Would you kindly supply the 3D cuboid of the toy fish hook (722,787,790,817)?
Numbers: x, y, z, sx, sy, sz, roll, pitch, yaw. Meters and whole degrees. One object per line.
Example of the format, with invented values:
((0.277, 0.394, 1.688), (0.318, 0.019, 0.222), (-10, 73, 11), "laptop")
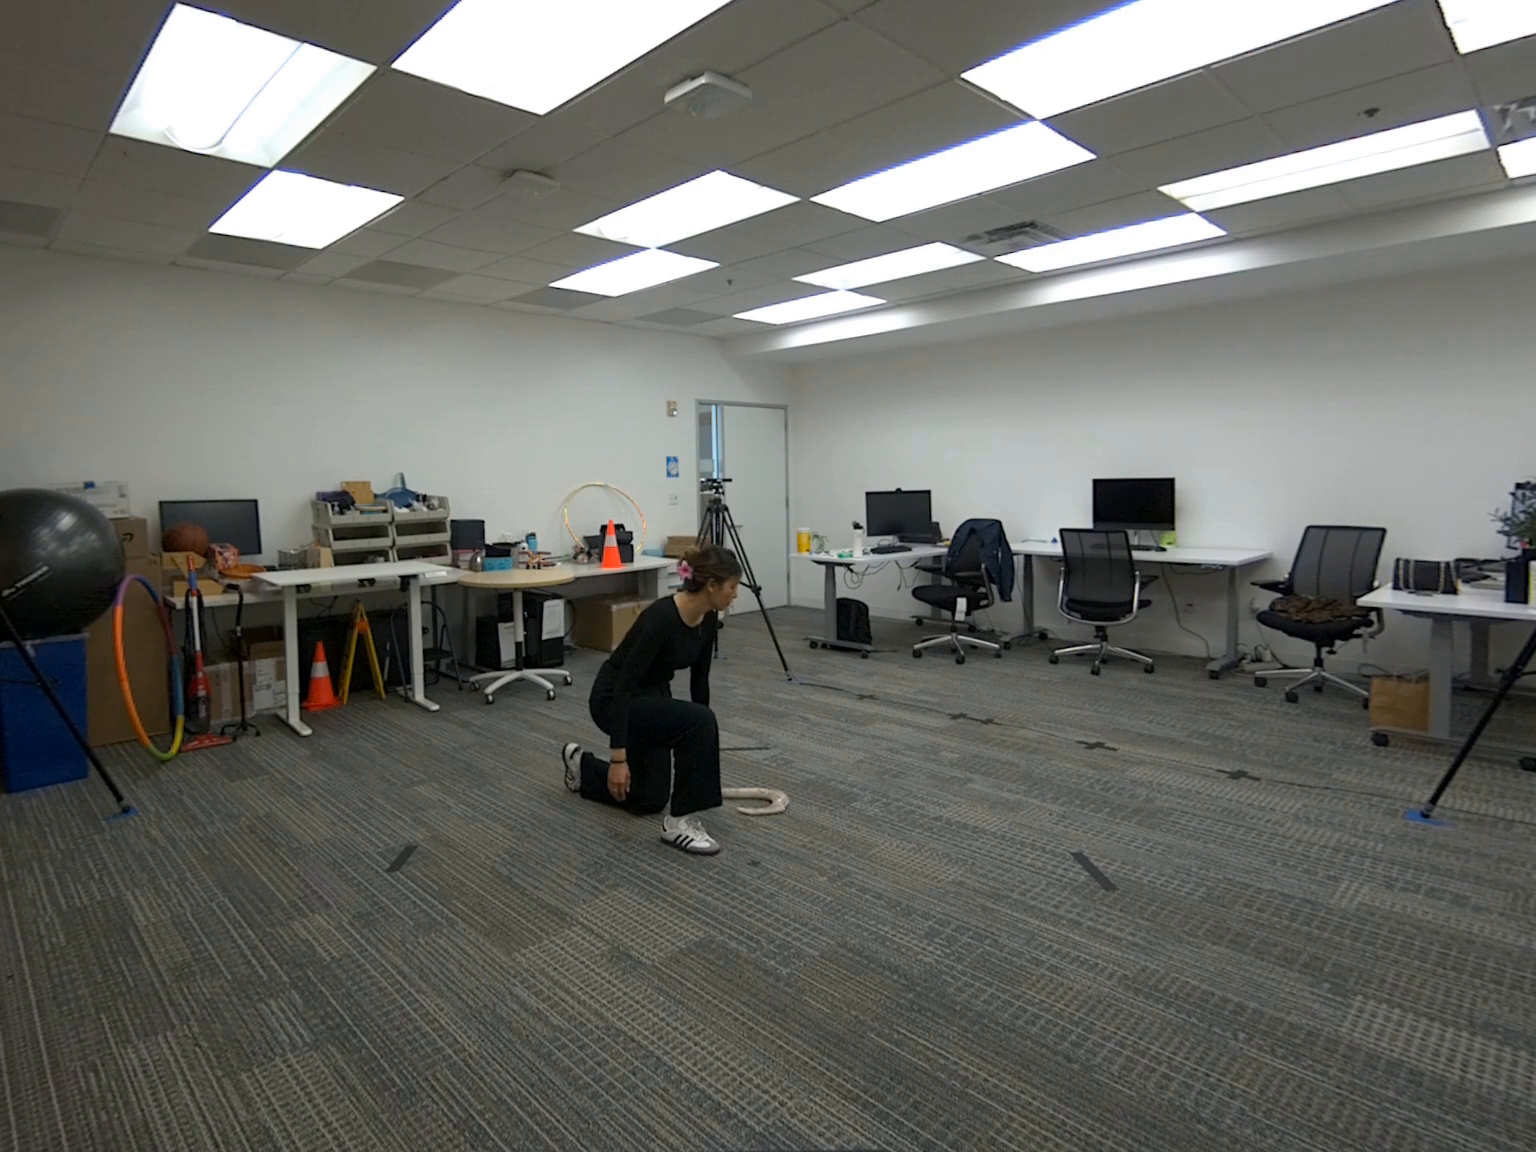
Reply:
((-0.164, 0.955, 3.687), (0.515, 0.048, 0.222), (1, 6, 17), "toy fish hook")
